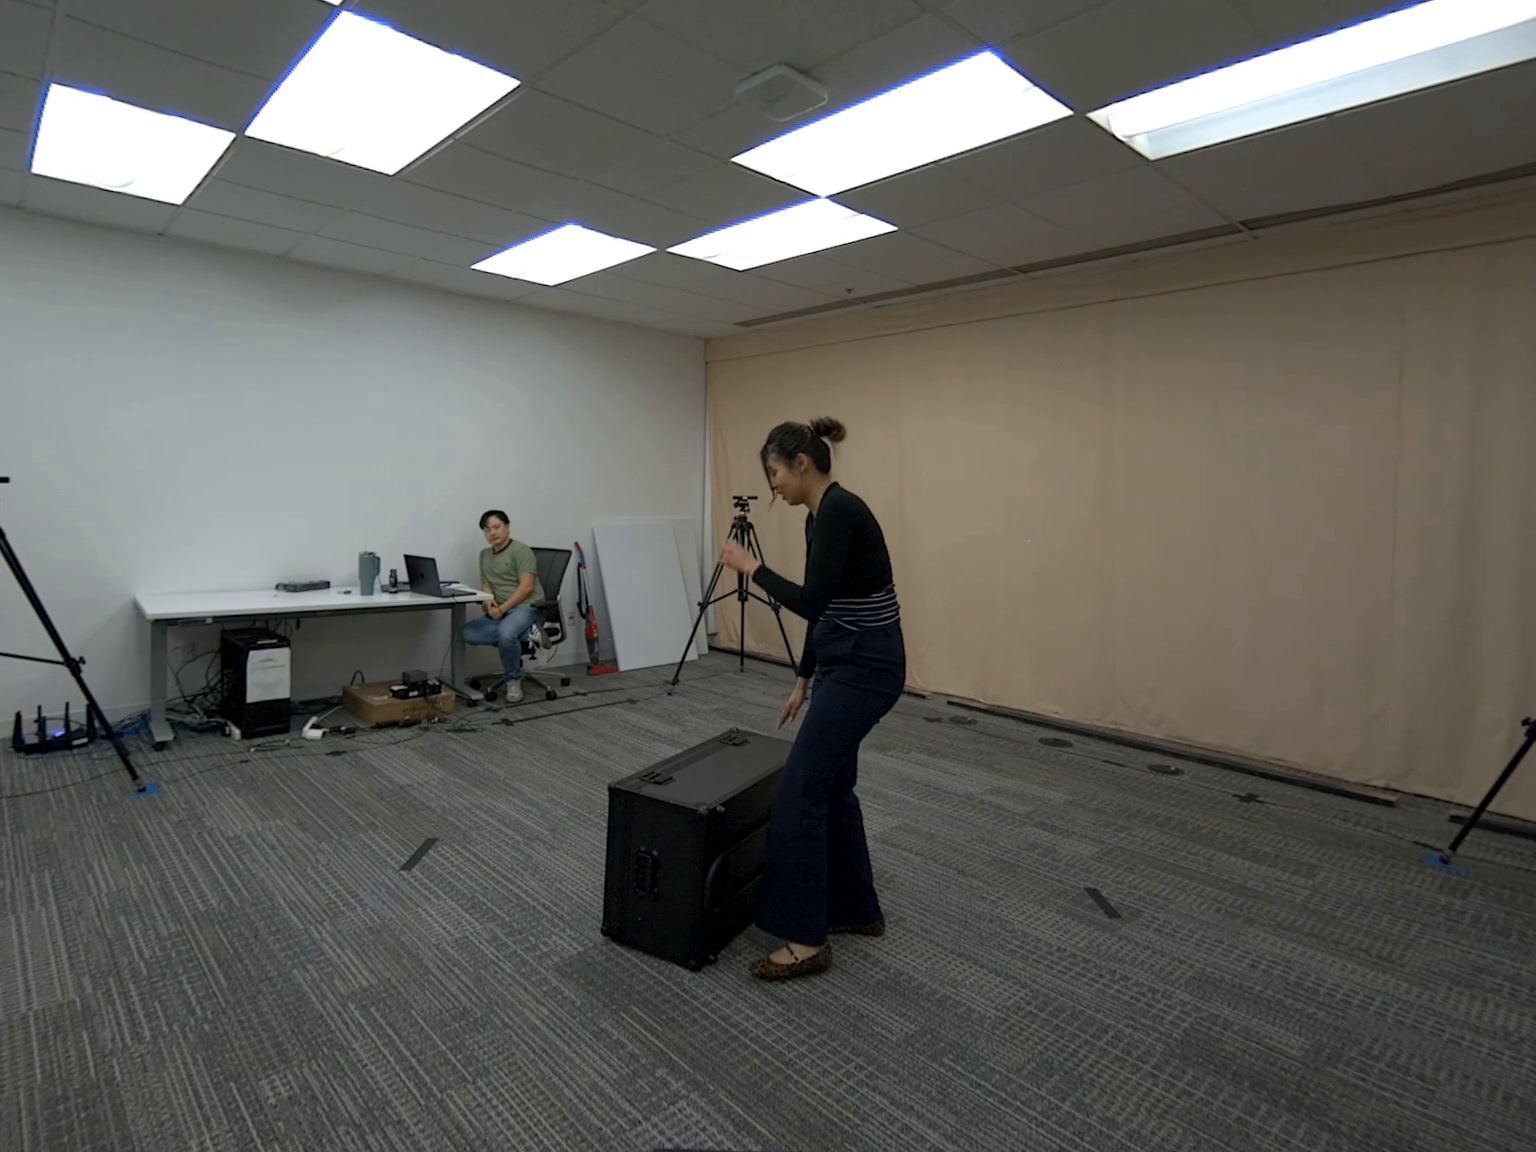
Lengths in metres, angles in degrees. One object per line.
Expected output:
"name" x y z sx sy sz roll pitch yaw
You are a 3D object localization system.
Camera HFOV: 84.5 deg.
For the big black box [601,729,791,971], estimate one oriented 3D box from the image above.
"big black box" -0.148 0.867 2.877 0.405 0.519 0.846 6 6 27
